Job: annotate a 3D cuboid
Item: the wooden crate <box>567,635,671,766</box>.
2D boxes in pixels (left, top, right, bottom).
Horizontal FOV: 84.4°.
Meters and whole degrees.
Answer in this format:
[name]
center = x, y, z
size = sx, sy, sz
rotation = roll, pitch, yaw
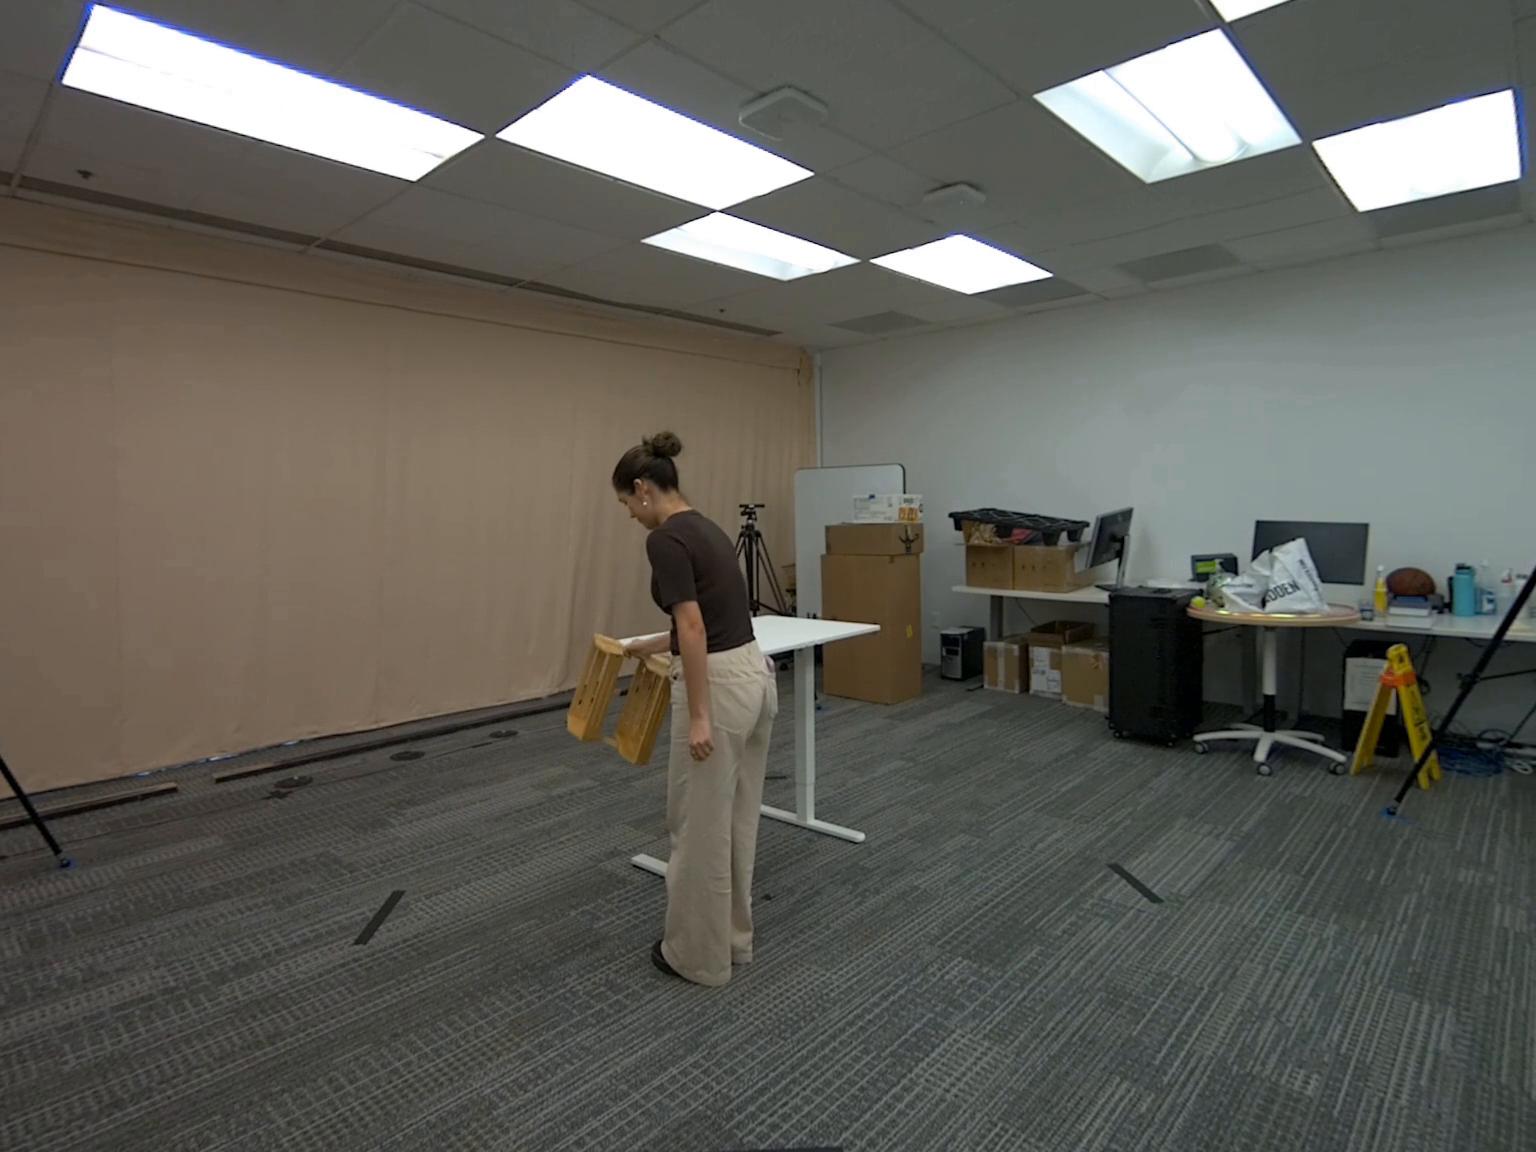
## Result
[wooden crate]
center = -0.488, 0.402, 2.749
size = 0.269, 0.324, 0.308
rotation = 17, 5, -15
